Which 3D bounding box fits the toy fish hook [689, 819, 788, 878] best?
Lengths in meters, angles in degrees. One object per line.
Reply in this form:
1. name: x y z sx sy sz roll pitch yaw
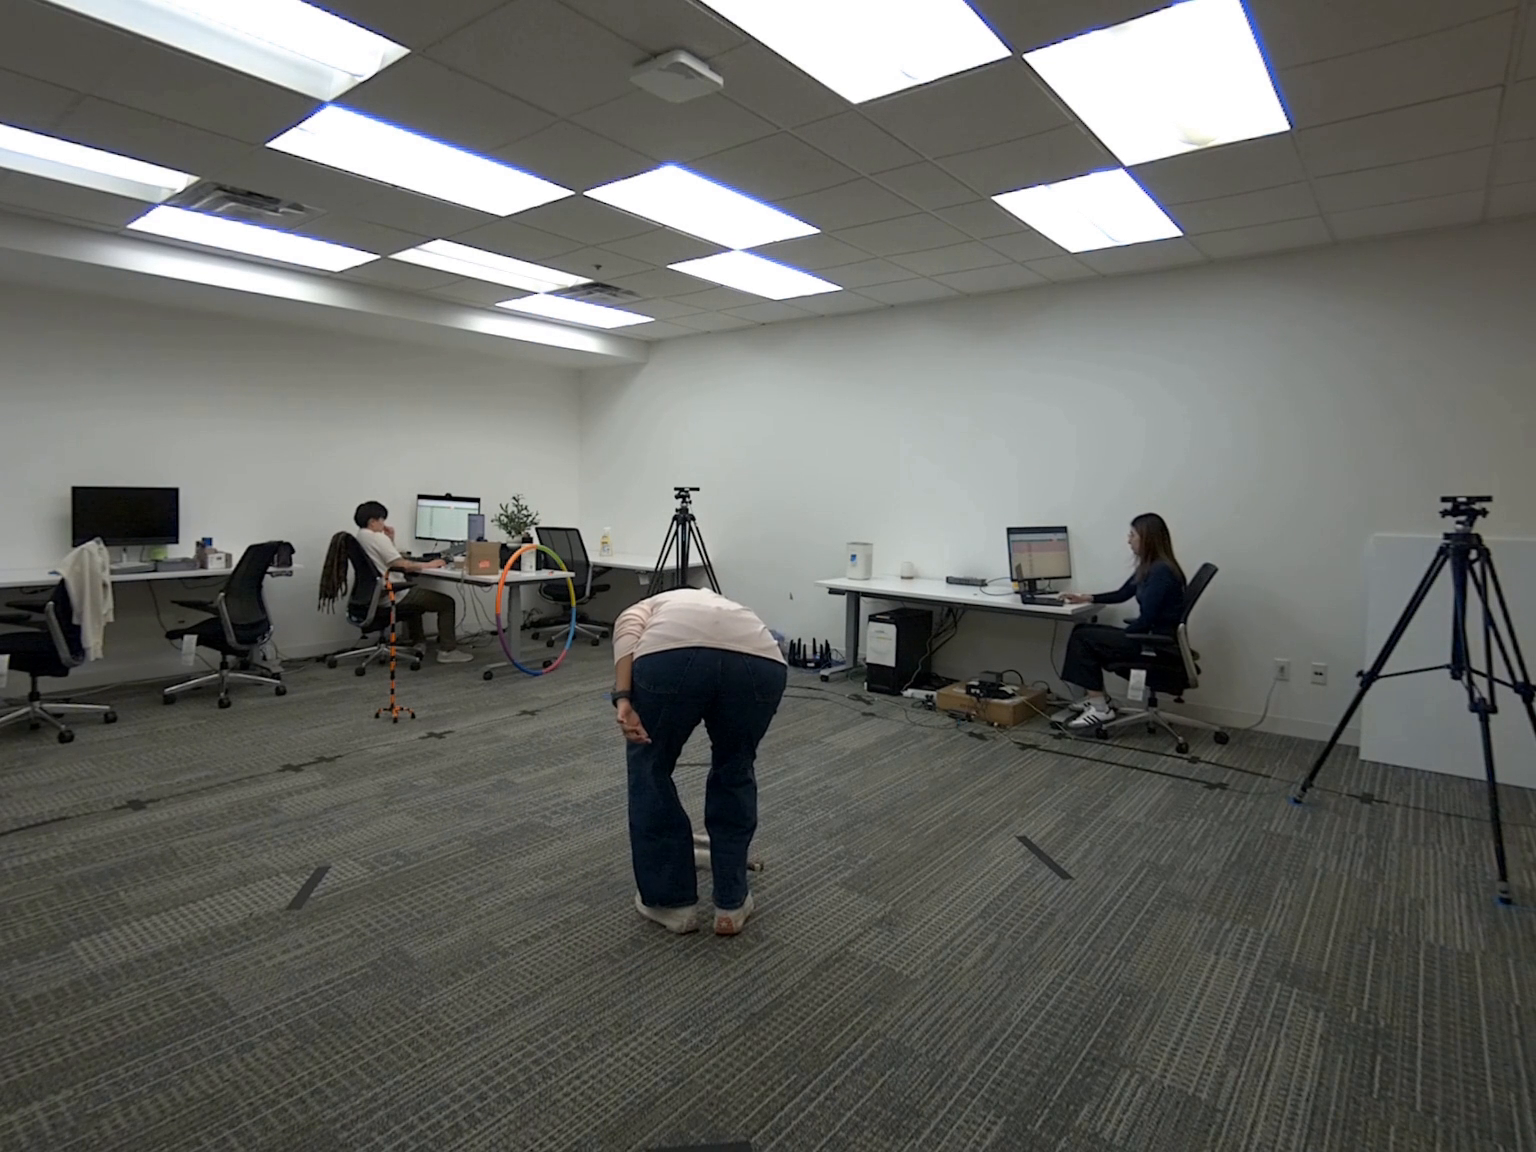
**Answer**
1. toy fish hook: -0.204 1.012 3.163 0.522 0.048 0.218 -1 6 37
